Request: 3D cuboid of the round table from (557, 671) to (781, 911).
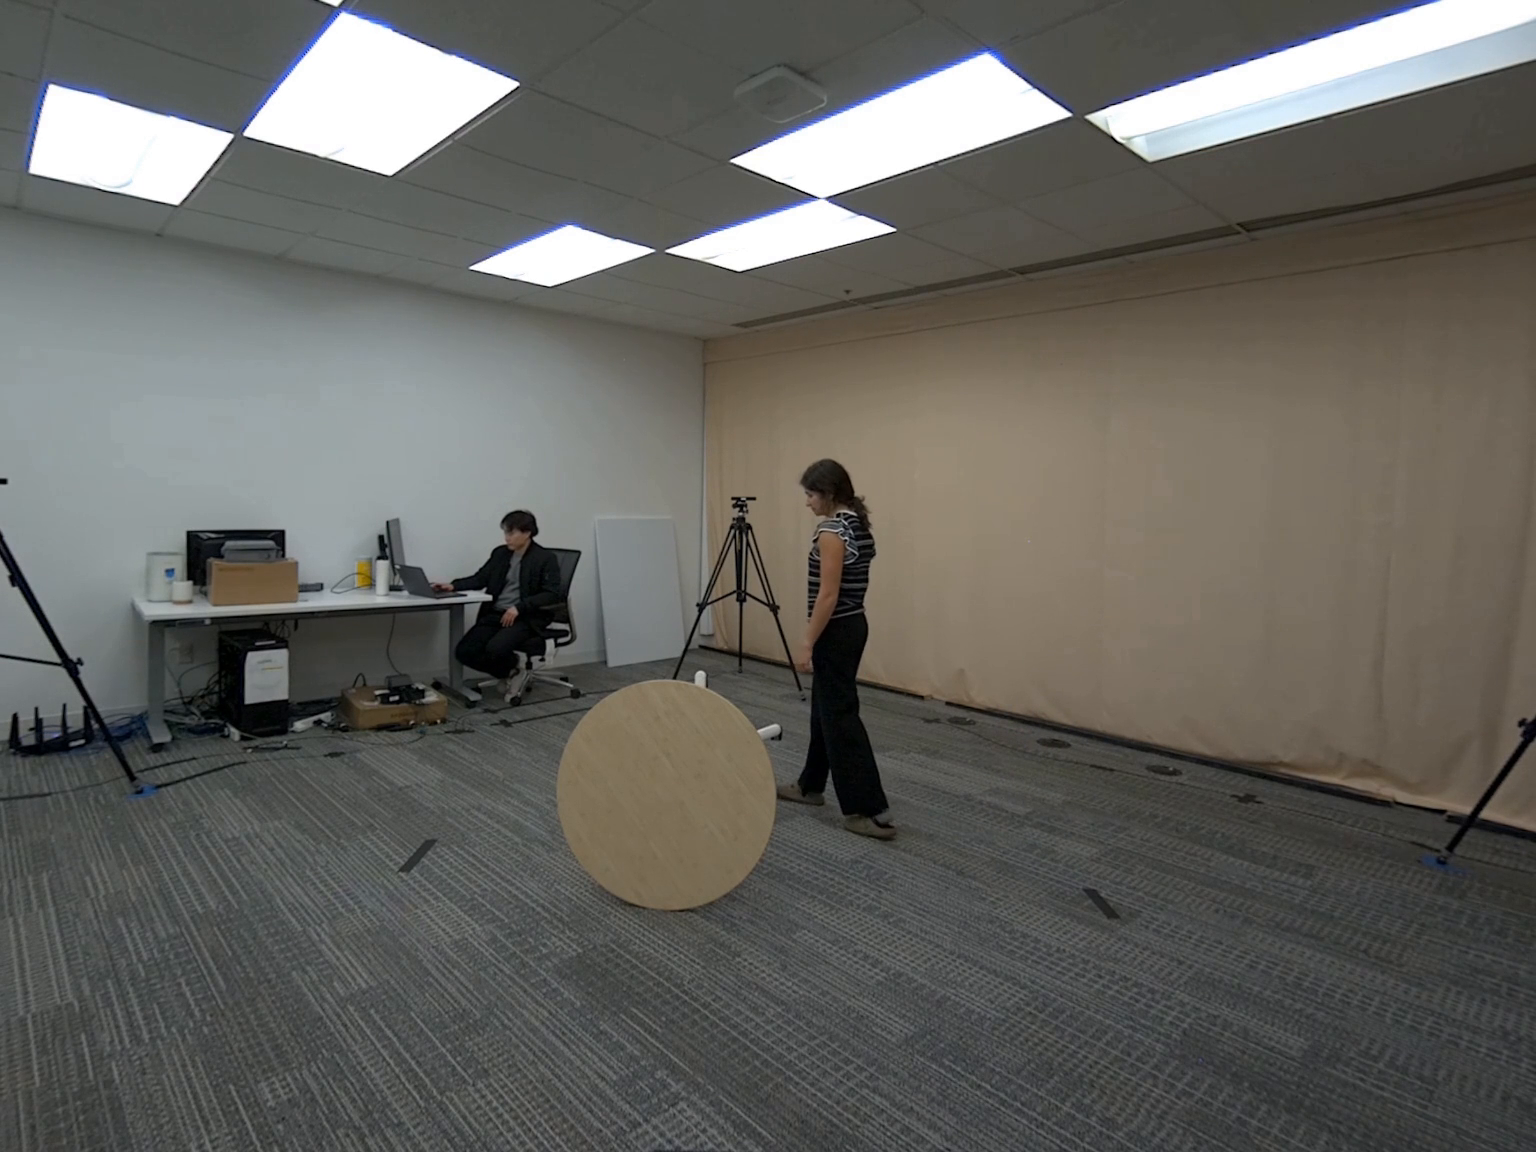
[{"bbox_3d":[-0.323,0.750,3.255,0.791,0.786,0.779,2,-2,8],"label":"round table"}]
